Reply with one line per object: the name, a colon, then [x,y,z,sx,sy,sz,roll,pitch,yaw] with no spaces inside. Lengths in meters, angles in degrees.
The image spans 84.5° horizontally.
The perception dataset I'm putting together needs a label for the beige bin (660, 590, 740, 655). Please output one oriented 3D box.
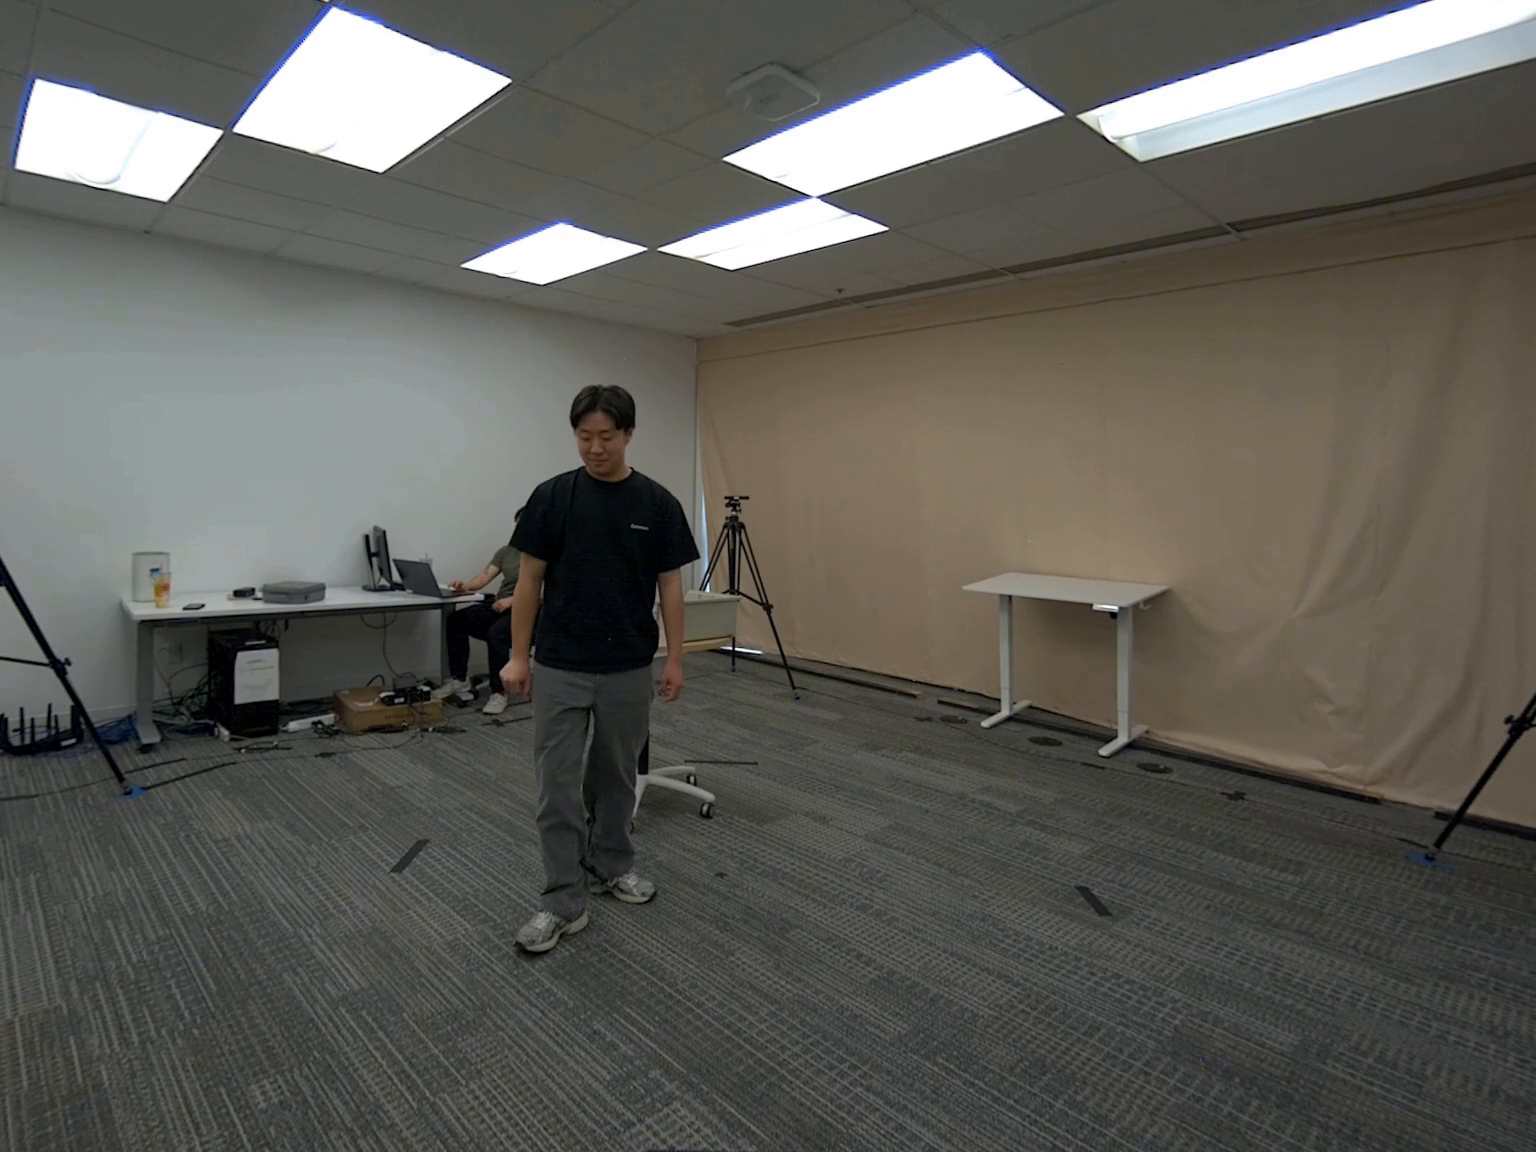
beige bin: [-0.395,0.173,3.699,0.412,0.188,0.387,-2,7,-43]
